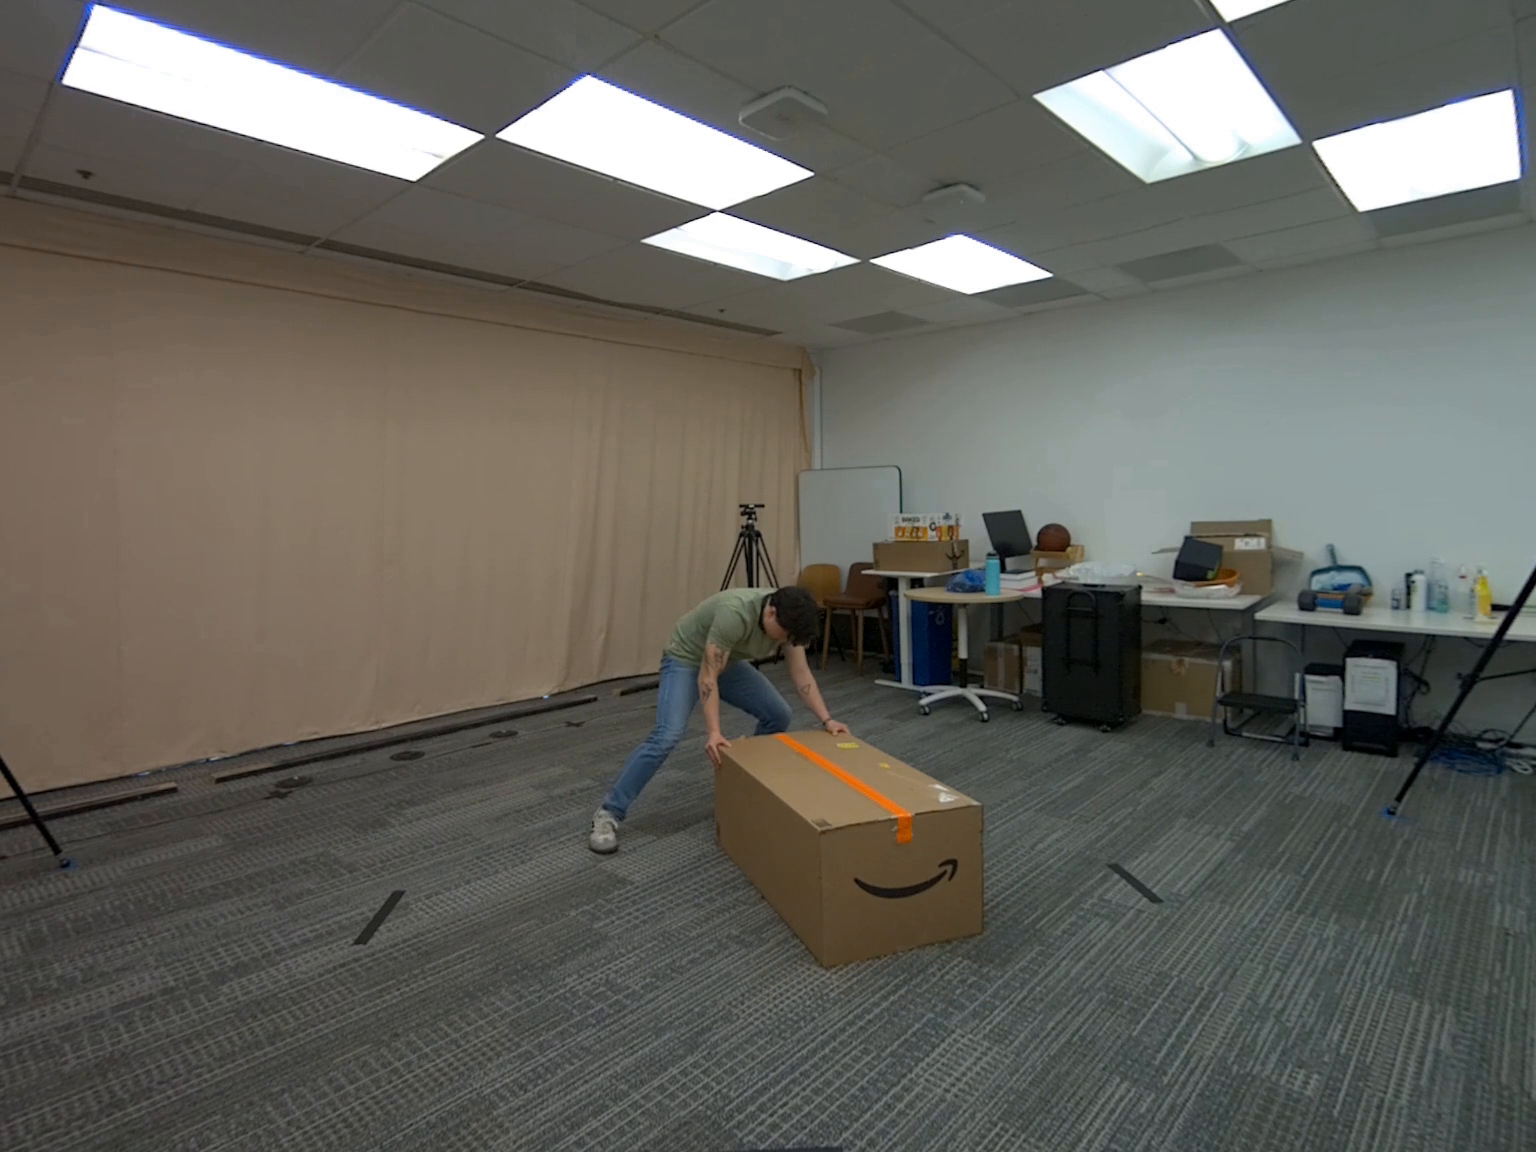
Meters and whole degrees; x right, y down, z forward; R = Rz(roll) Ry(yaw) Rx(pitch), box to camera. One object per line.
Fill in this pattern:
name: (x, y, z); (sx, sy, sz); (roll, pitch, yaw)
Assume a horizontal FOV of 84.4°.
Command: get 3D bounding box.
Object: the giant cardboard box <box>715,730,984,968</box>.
giant cardboard box: (0.240, 0.912, 3.081); (0.566, 0.425, 1.049); (-2, 5, -21)
